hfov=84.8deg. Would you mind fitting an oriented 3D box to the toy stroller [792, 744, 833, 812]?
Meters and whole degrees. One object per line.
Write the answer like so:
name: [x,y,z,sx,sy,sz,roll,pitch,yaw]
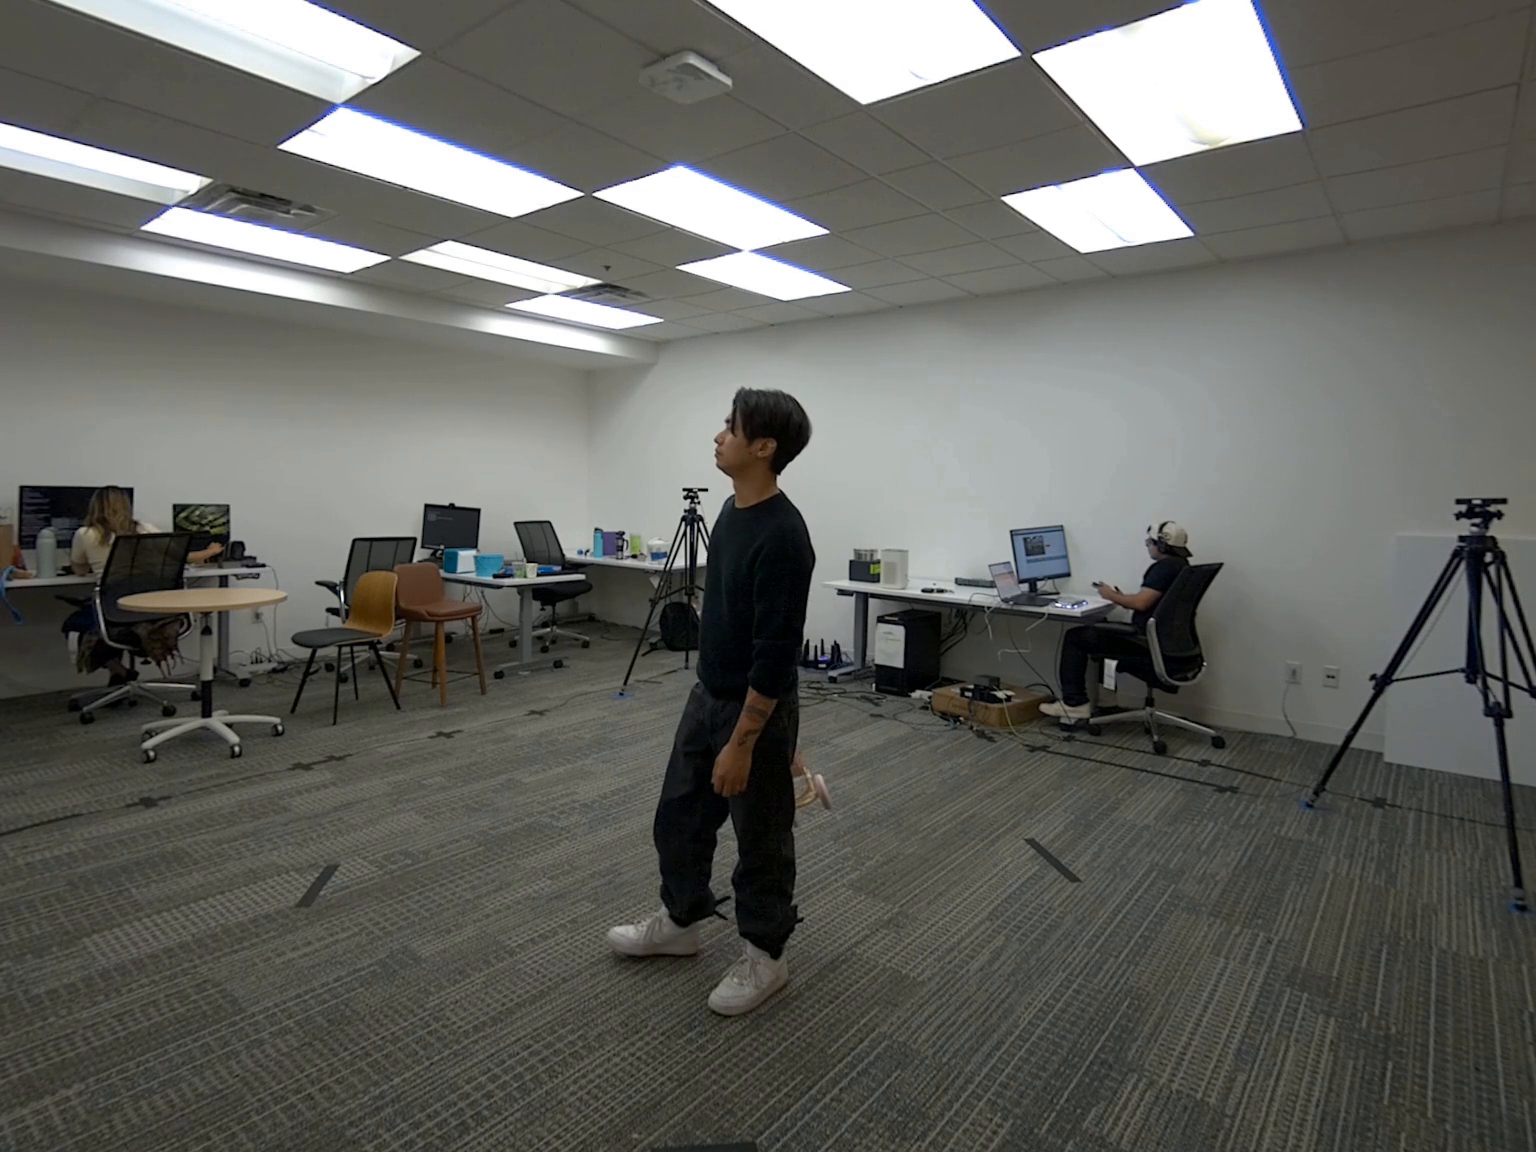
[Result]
toy stroller: [-0.005,0.578,2.804,0.282,0.543,0.335,-20,-11,3]
